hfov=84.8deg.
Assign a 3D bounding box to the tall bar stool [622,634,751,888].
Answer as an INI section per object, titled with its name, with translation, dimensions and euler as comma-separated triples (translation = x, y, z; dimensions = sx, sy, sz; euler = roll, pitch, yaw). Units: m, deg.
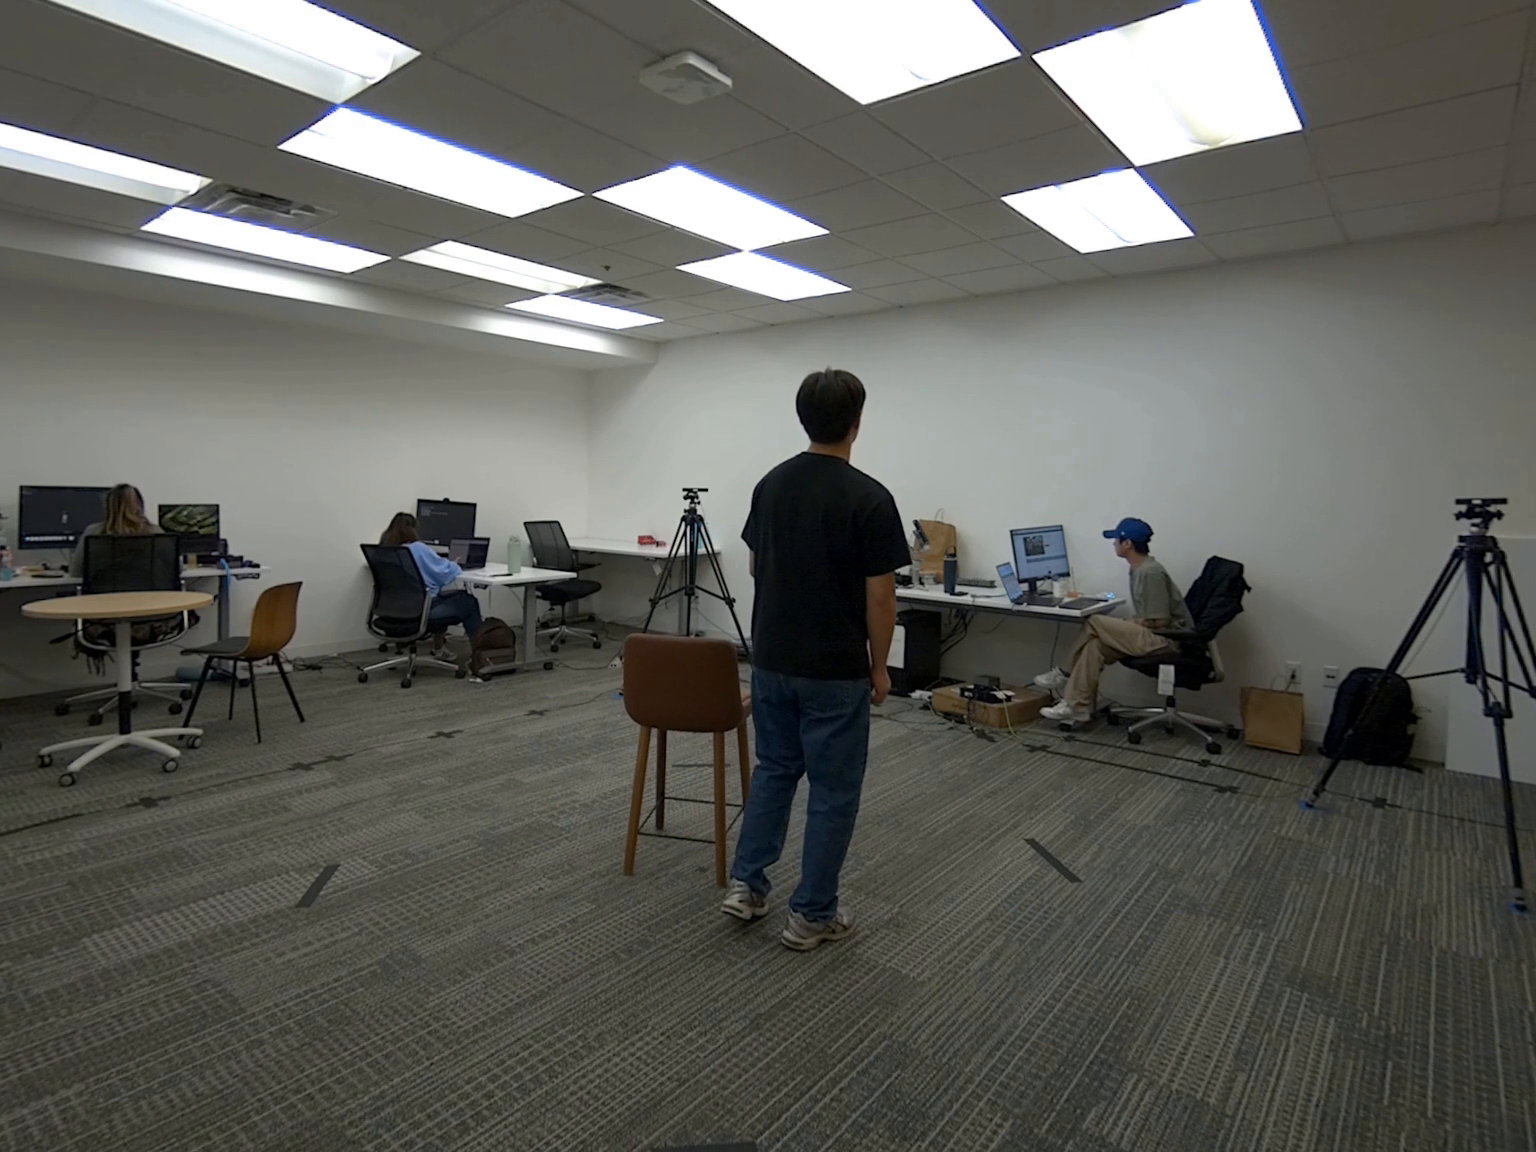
[tall bar stool]
translation = -0.303, 0.627, 3.200
dimensions = 0.464, 0.887, 0.462
euler = 1, 4, 14
